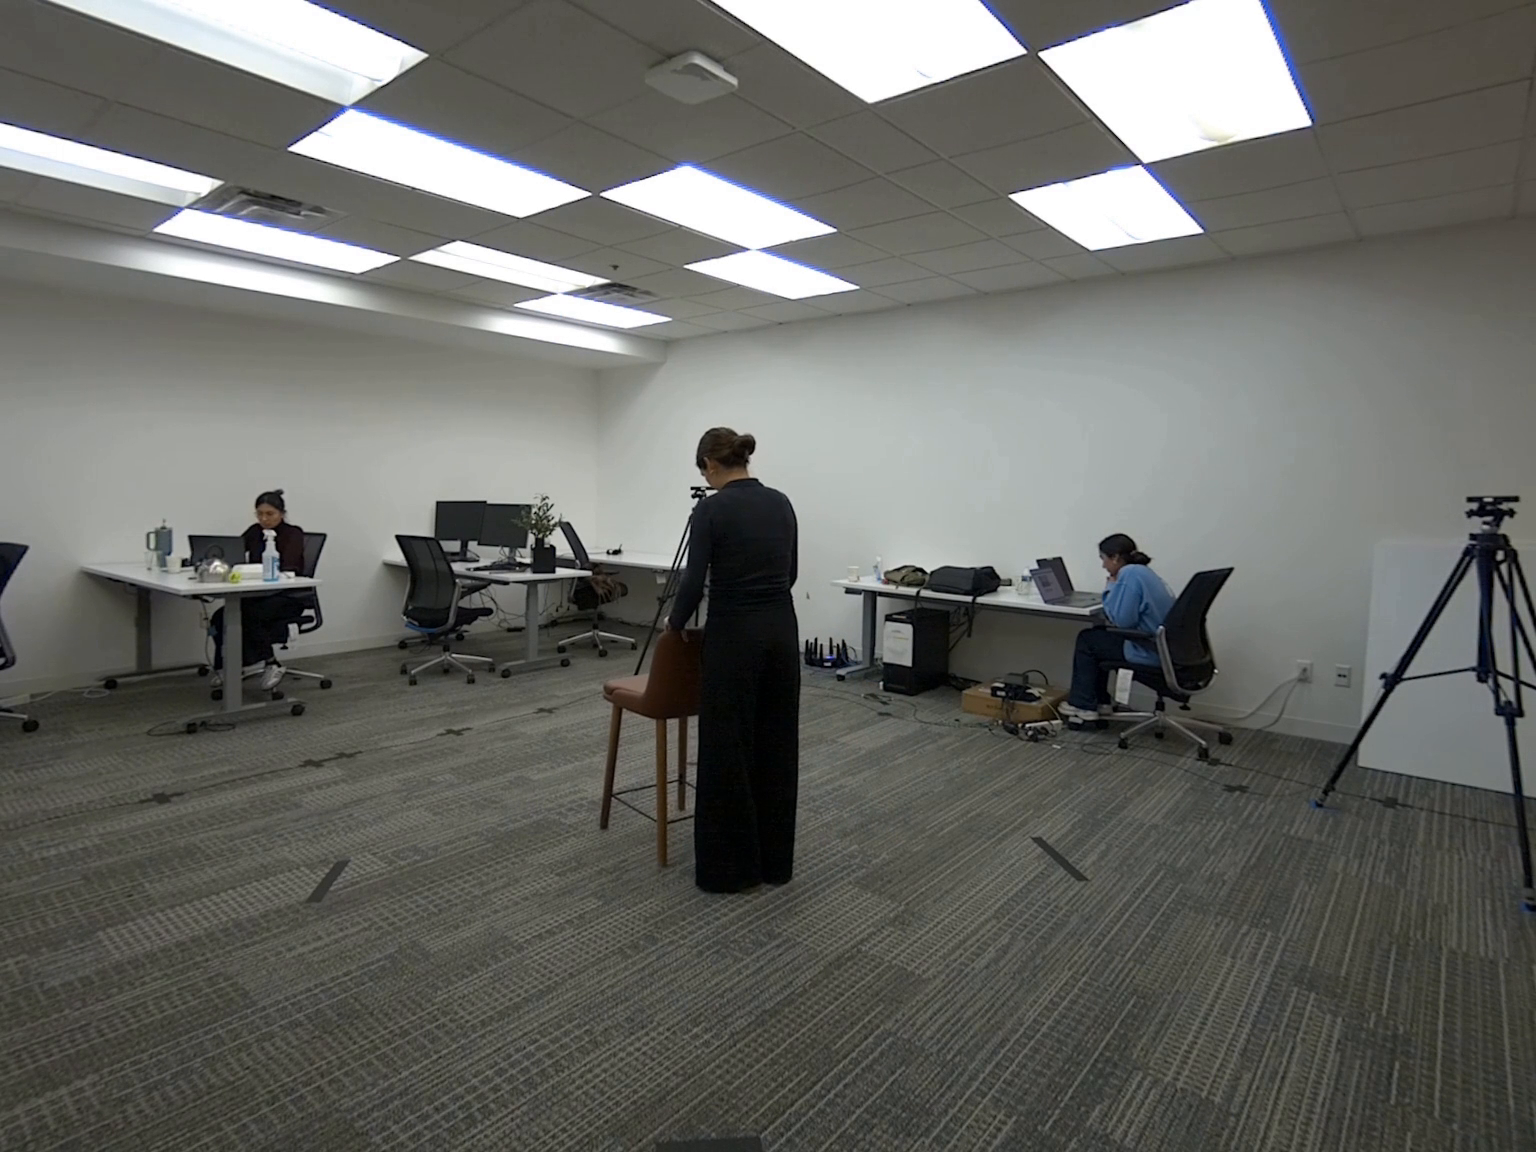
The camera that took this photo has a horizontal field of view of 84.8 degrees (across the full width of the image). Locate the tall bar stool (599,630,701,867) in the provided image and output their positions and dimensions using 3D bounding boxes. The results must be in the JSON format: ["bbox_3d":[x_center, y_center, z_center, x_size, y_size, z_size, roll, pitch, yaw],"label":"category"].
[{"bbox_3d":[-0.388,0.598,3.363,0.443,0.886,0.484,-2,6,-37],"label":"tall bar stool"}]
